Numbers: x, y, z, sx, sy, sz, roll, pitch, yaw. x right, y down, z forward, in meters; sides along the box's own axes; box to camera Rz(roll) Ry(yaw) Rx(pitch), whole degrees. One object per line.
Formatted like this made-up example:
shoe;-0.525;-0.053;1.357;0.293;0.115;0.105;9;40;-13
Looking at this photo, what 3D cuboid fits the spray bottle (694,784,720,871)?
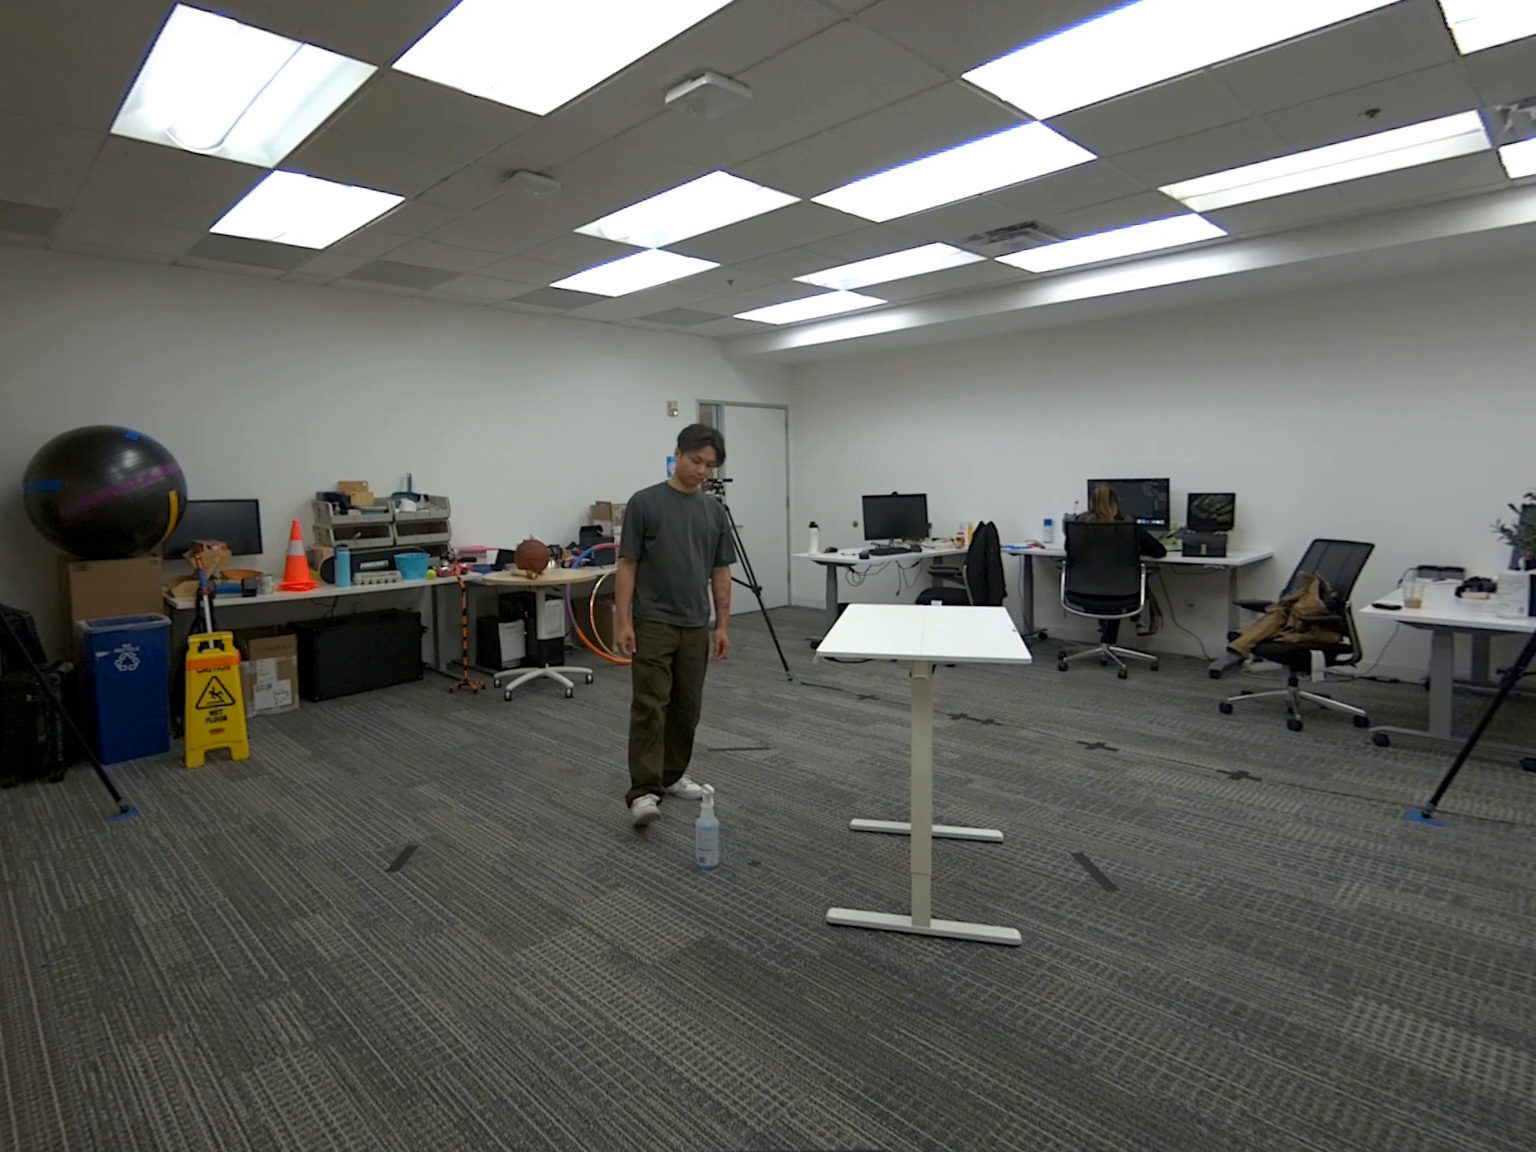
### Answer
spray bottle;-0.217;0.903;3.092;0.087;0.296;0.090;1;5;-1
